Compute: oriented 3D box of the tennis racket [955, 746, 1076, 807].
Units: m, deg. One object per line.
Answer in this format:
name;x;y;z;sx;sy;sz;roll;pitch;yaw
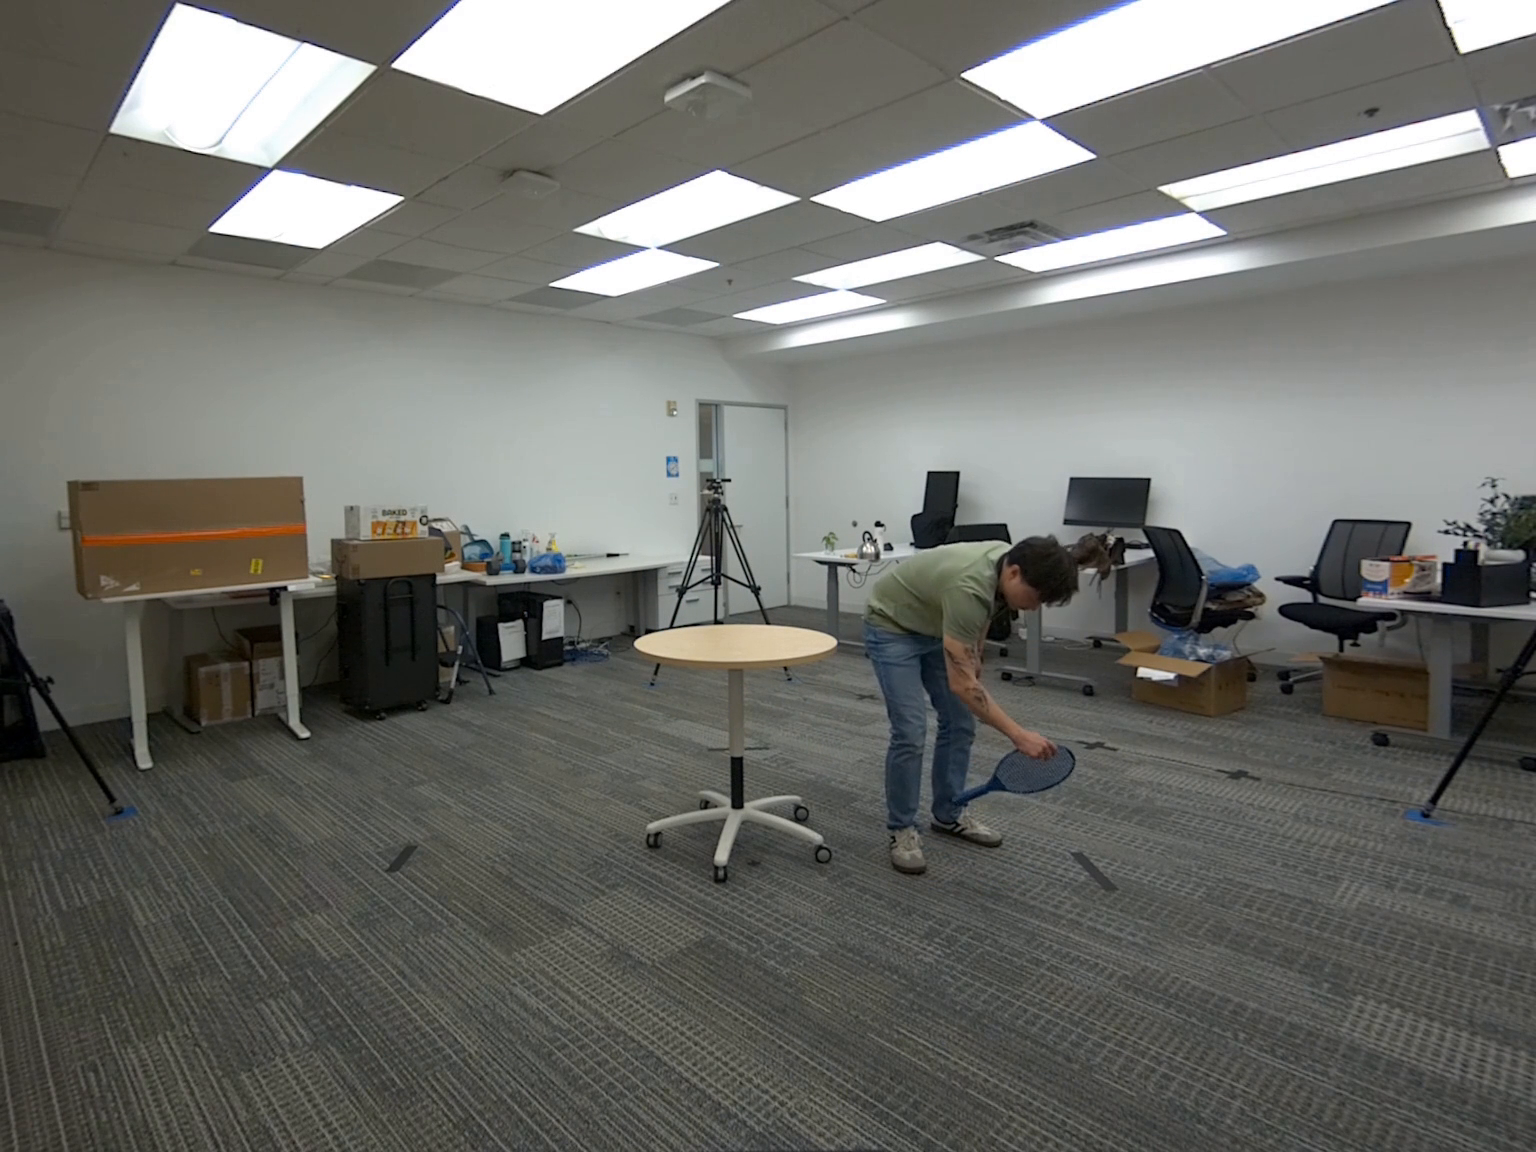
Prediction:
tennis racket;0.819;0.689;2.869;0.437;0.208;0.032;-26;23;20
